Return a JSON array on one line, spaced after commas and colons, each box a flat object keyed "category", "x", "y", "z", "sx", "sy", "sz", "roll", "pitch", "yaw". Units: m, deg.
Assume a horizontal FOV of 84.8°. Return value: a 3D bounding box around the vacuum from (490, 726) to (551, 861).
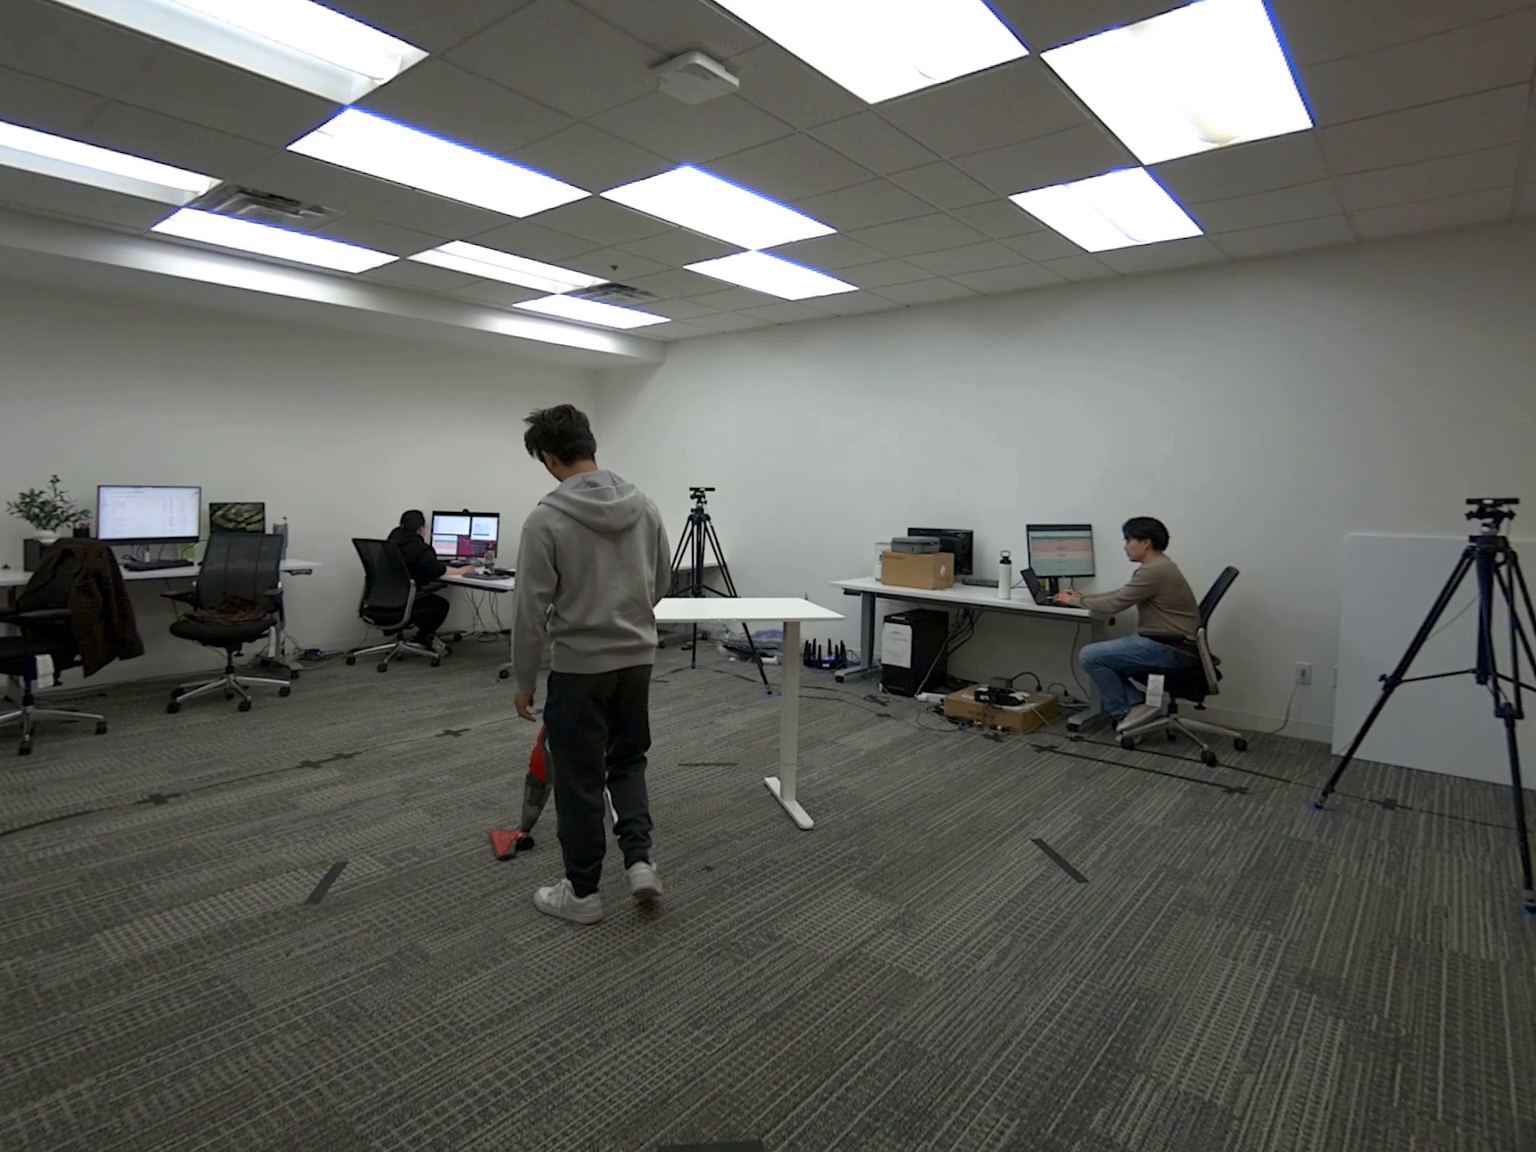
[{"category": "vacuum", "x": -0.823, "y": 0.550, "z": 3.337, "sx": 0.139, "sy": 1.053, "sz": 0.260, "roll": 24, "pitch": -7, "yaw": -31}]
